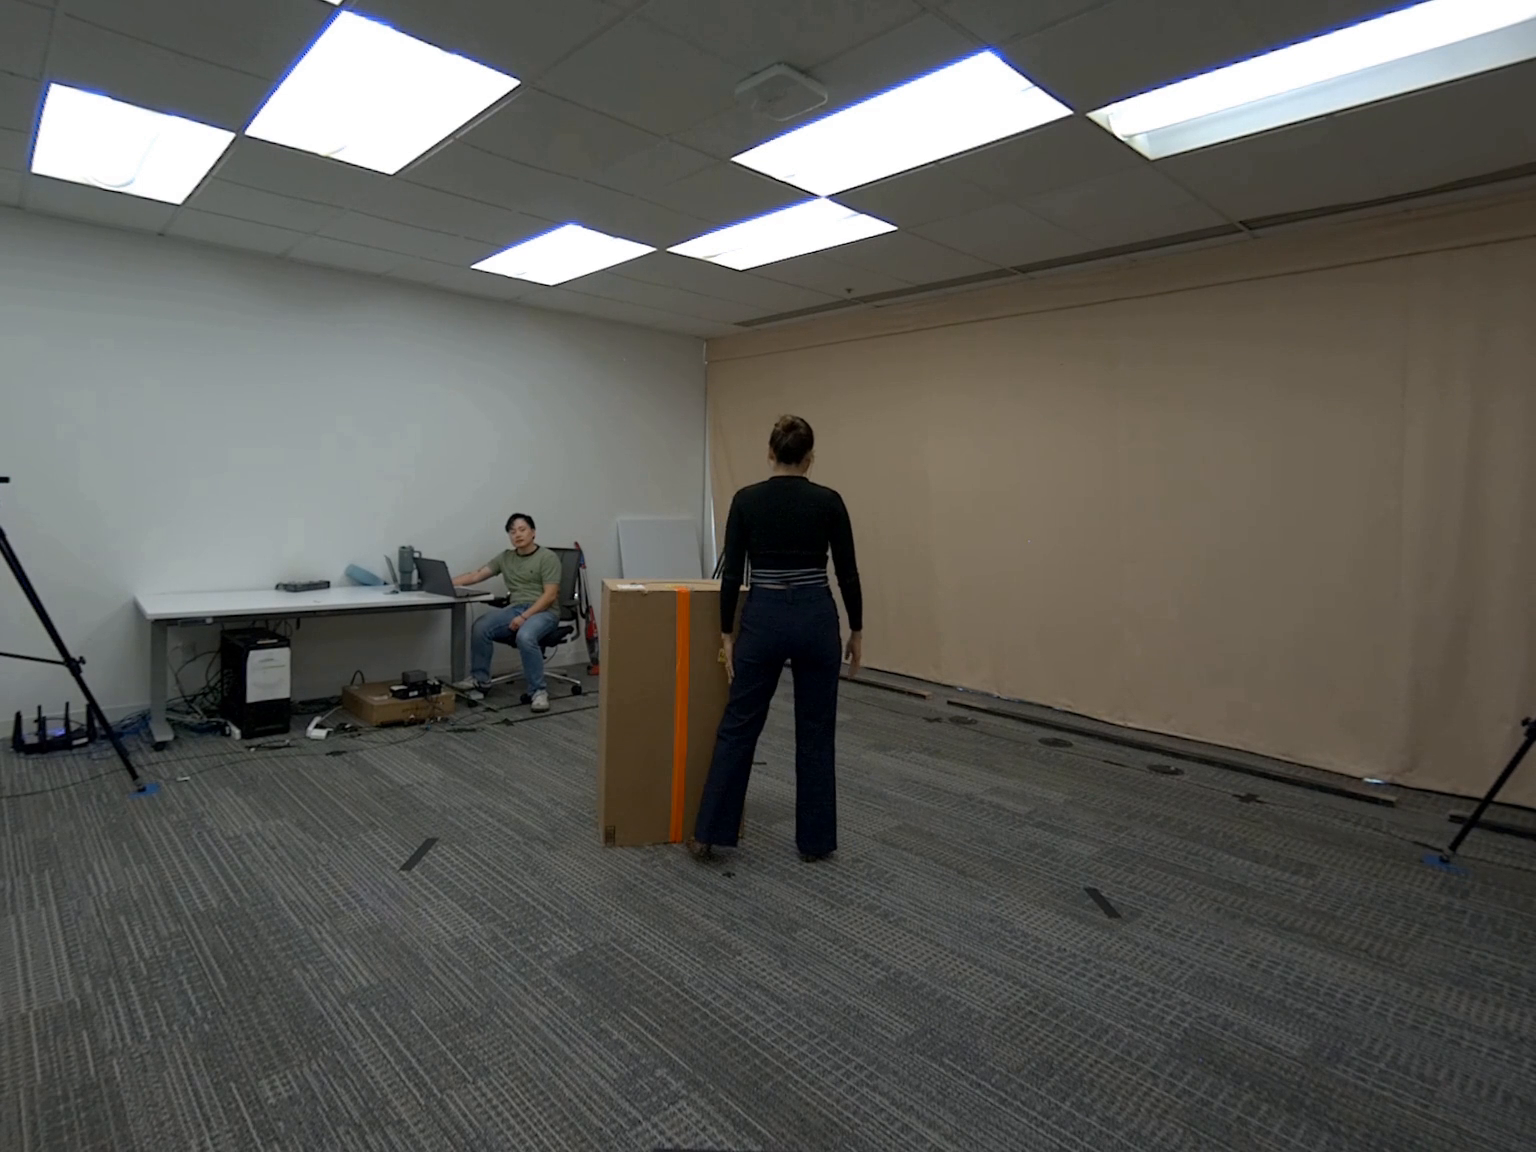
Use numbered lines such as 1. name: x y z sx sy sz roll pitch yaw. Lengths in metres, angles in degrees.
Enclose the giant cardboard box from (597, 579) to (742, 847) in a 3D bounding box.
1. giant cardboard box: -0.423 0.545 3.564 0.571 1.024 0.432 1 3 -15
